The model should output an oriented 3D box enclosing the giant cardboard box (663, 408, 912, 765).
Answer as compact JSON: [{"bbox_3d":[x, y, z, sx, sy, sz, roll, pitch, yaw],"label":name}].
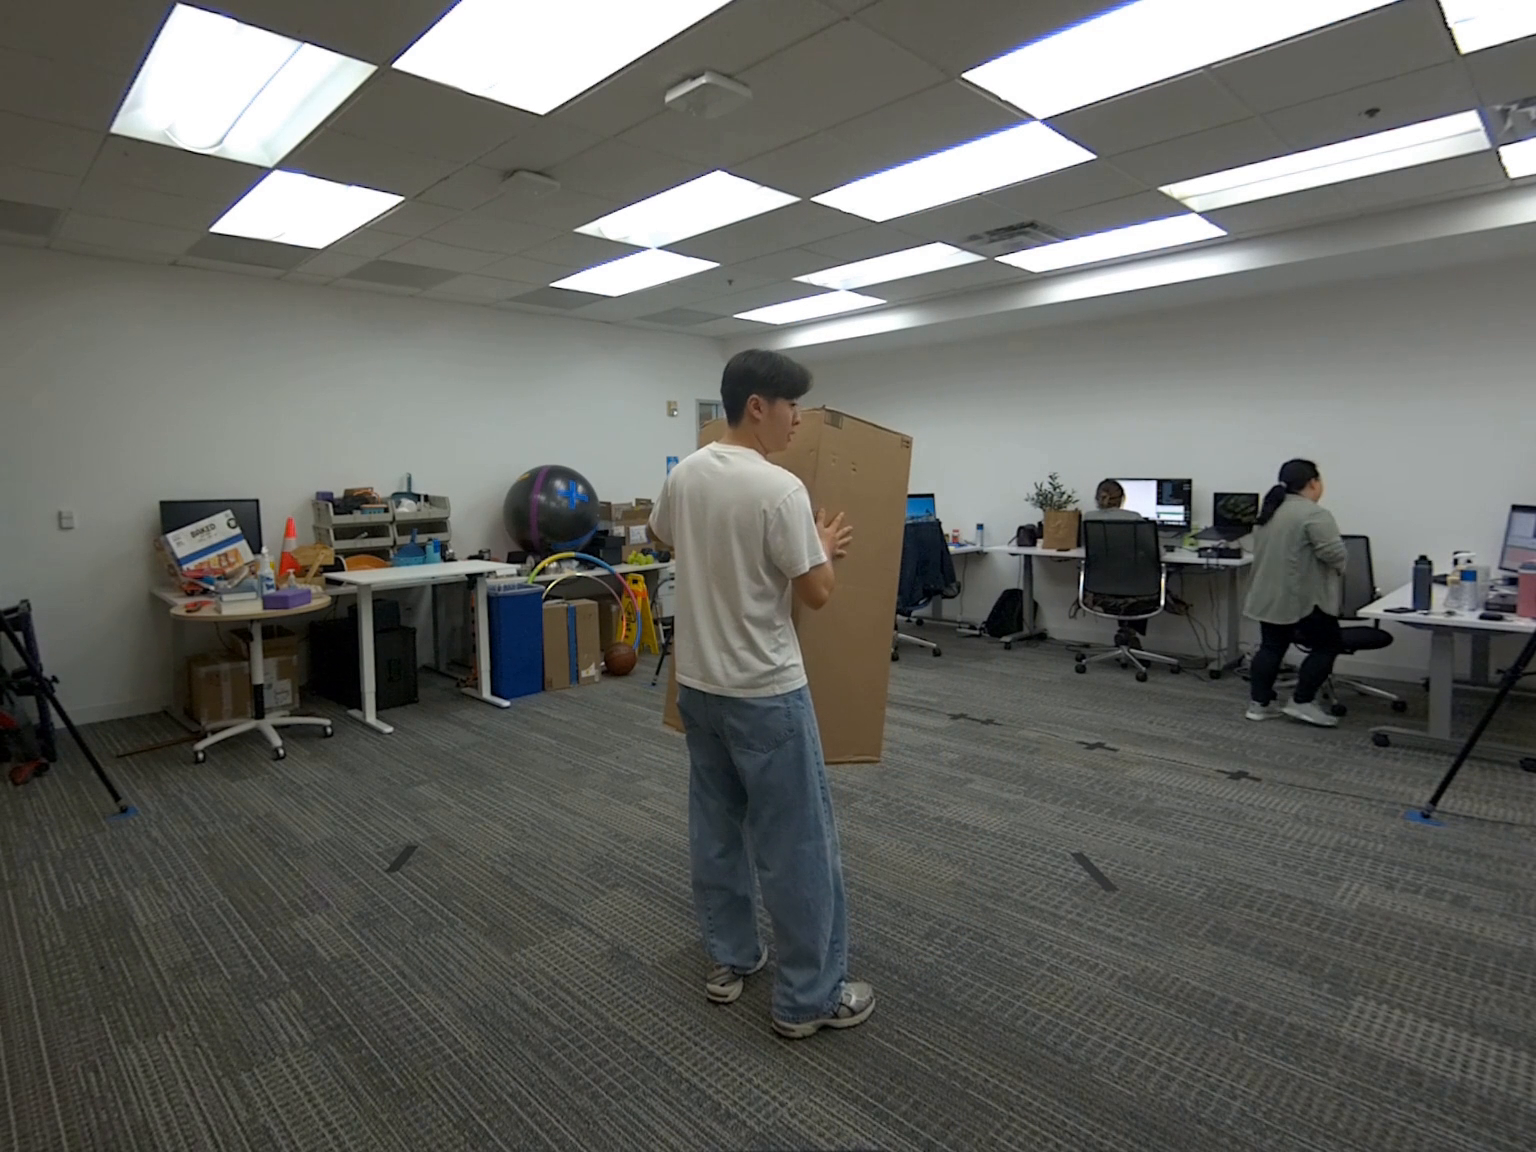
[{"bbox_3d":[0.072,0.027,2.752,0.412,1.029,0.595,11,-5,-42],"label":"giant cardboard box"}]
